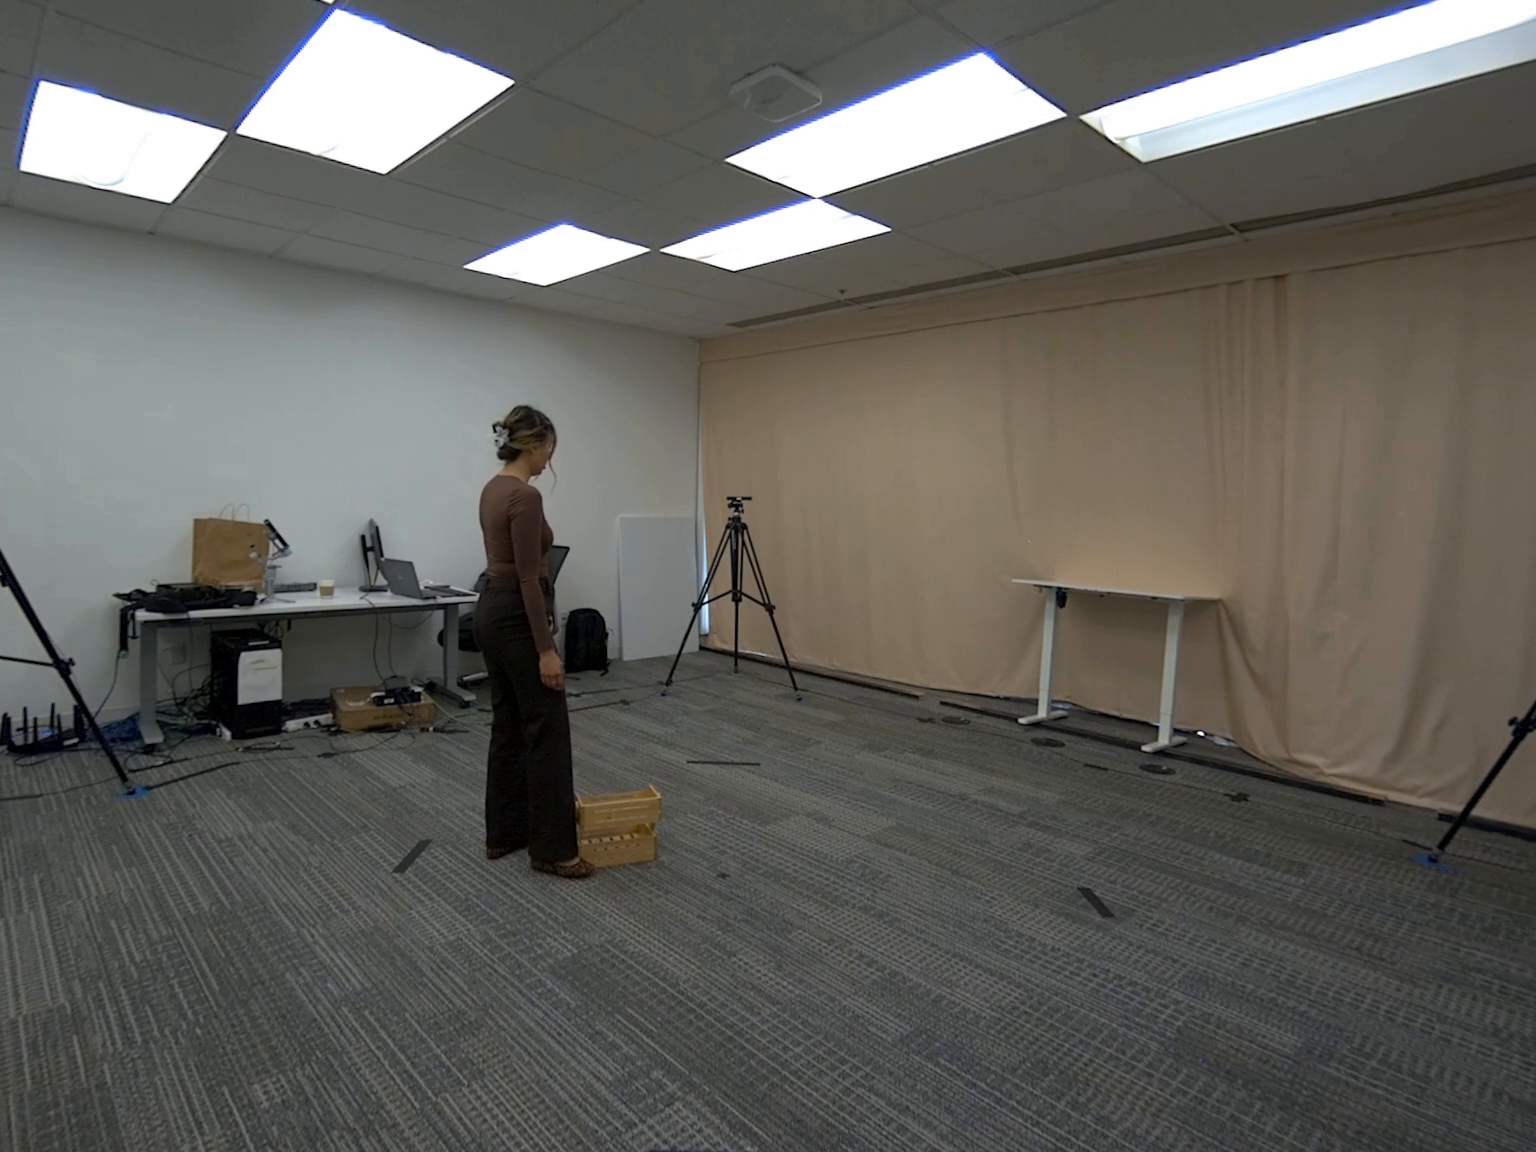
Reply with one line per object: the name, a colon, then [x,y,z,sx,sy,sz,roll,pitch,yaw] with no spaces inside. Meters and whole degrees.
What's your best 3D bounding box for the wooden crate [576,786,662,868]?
wooden crate: [-0.608,0.949,3.269,0.319,0.272,0.308,-1,5,-22]
